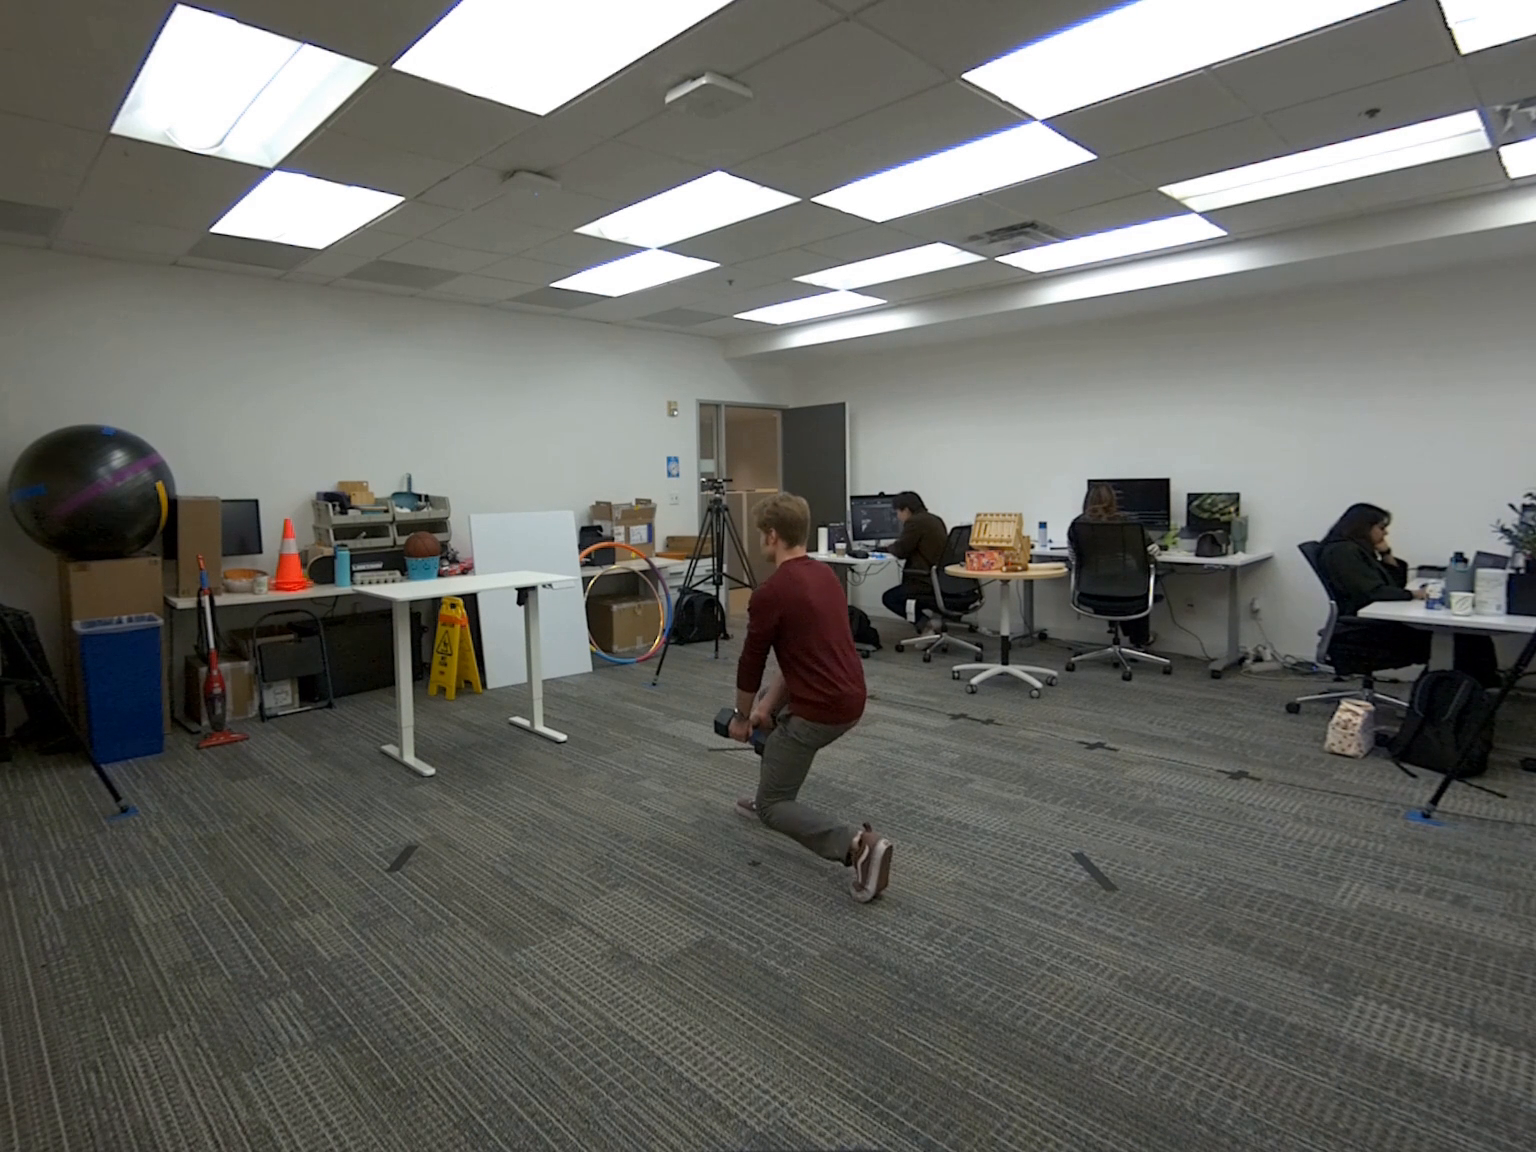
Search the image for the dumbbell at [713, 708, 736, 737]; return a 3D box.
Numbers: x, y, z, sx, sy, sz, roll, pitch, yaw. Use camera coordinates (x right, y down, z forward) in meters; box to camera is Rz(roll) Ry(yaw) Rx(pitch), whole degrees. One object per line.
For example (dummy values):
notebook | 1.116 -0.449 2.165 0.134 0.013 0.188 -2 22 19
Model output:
dumbbell | -0.064 0.615 3.376 0.304 0.105 0.123 18 56 38
